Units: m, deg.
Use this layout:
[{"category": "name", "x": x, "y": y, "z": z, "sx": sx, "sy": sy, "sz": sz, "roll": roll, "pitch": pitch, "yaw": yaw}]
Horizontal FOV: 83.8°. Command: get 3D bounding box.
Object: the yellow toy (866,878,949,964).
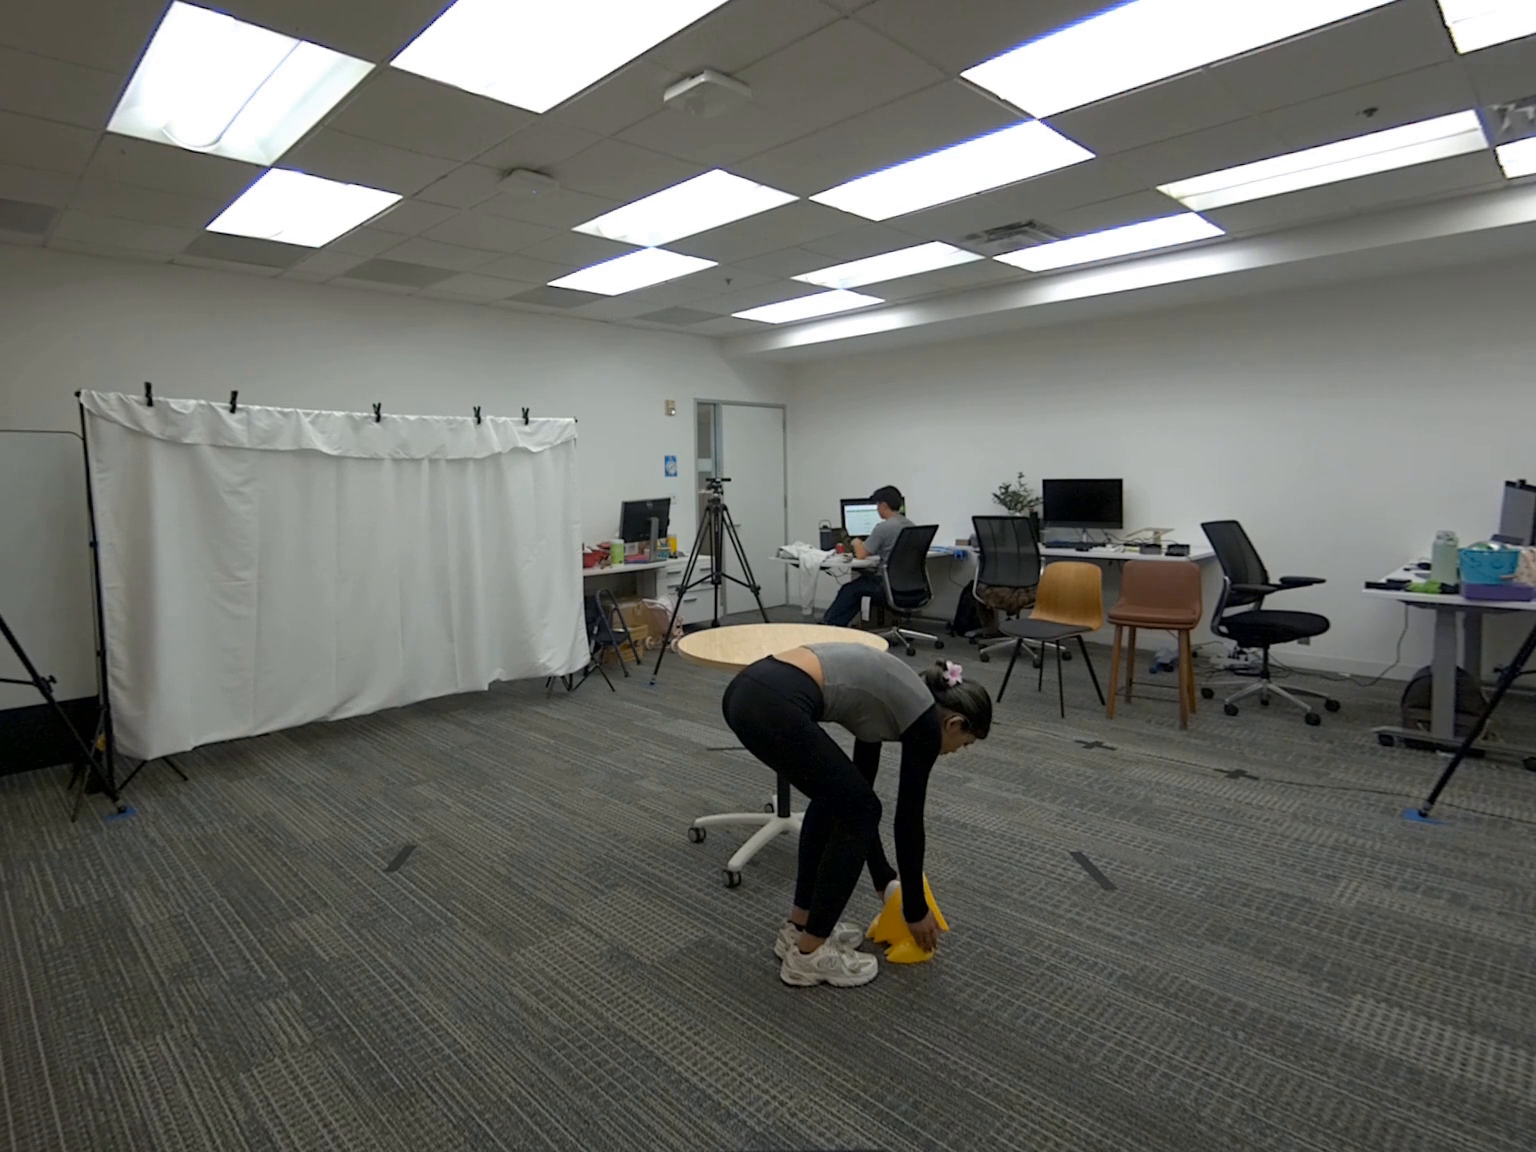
[{"category": "yellow toy", "x": 0.406, "y": 0.987, "z": 2.543, "sx": 0.190, "sy": 0.229, "sz": 0.209, "roll": -4, "pitch": 8, "yaw": -20}]
